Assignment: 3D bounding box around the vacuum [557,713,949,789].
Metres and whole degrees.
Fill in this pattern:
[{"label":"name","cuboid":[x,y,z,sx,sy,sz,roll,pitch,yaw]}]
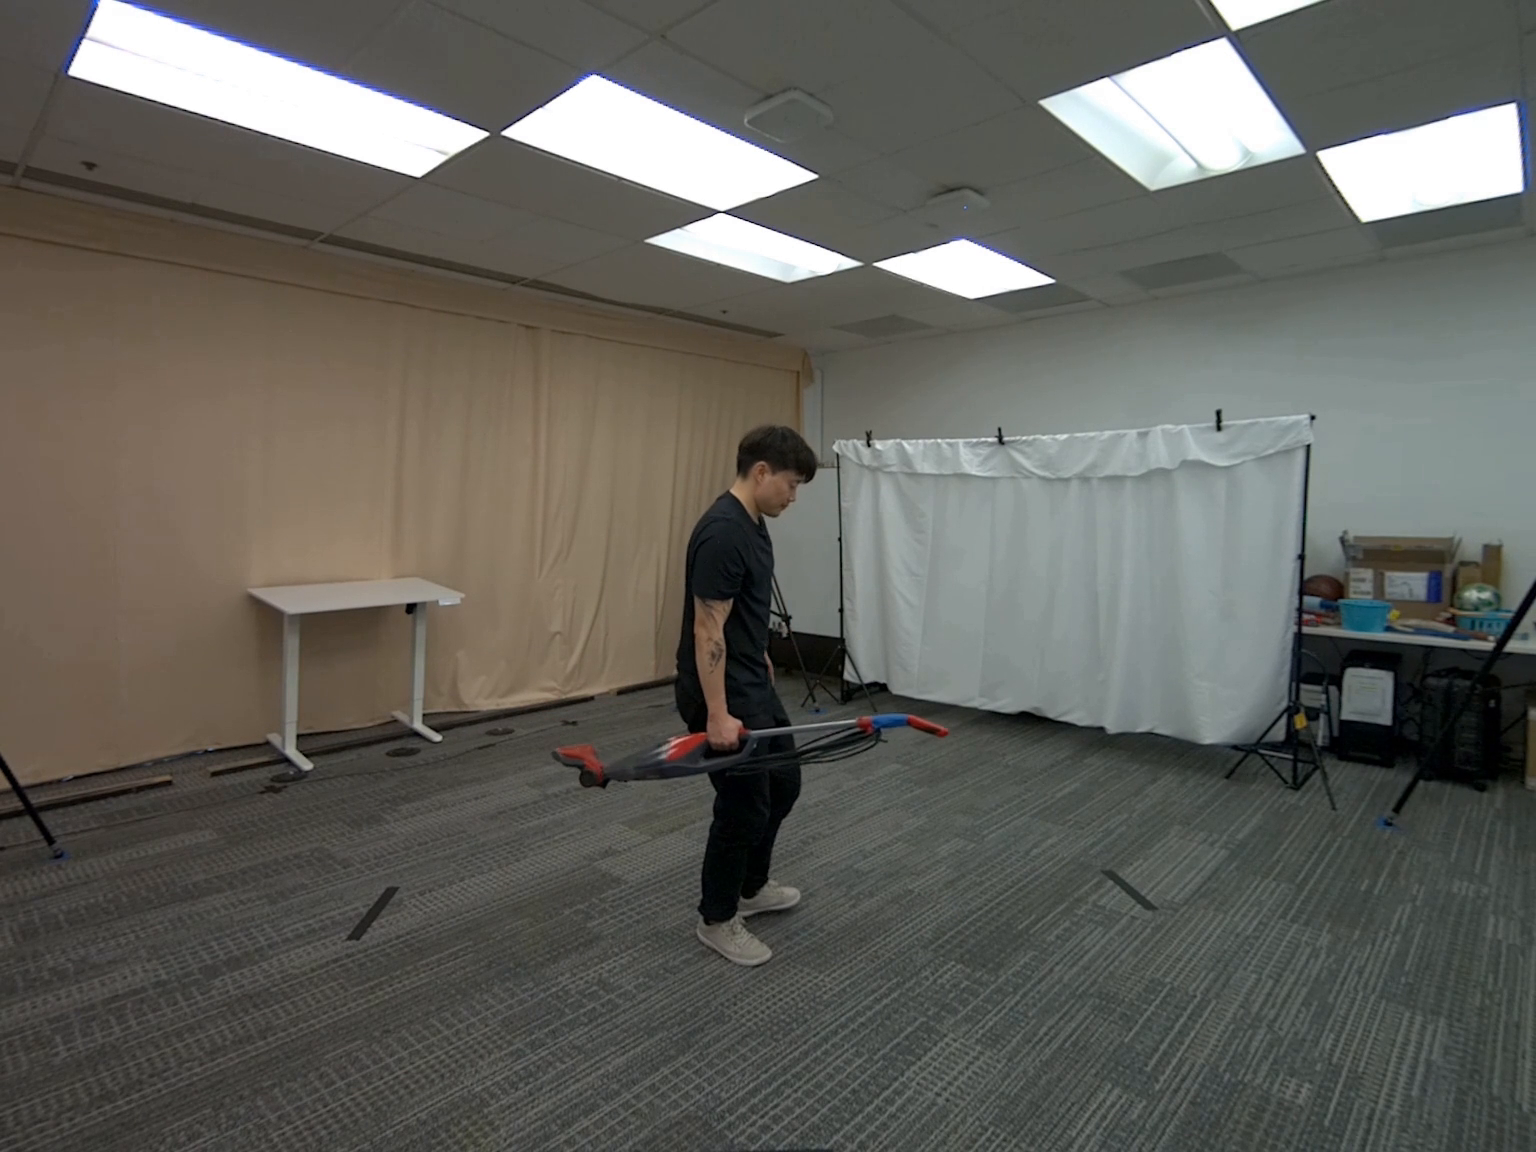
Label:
[{"label":"vacuum","cuboid":[-0.025,0.489,2.383,1.062,0.145,0.248,-9,-8,12]}]
